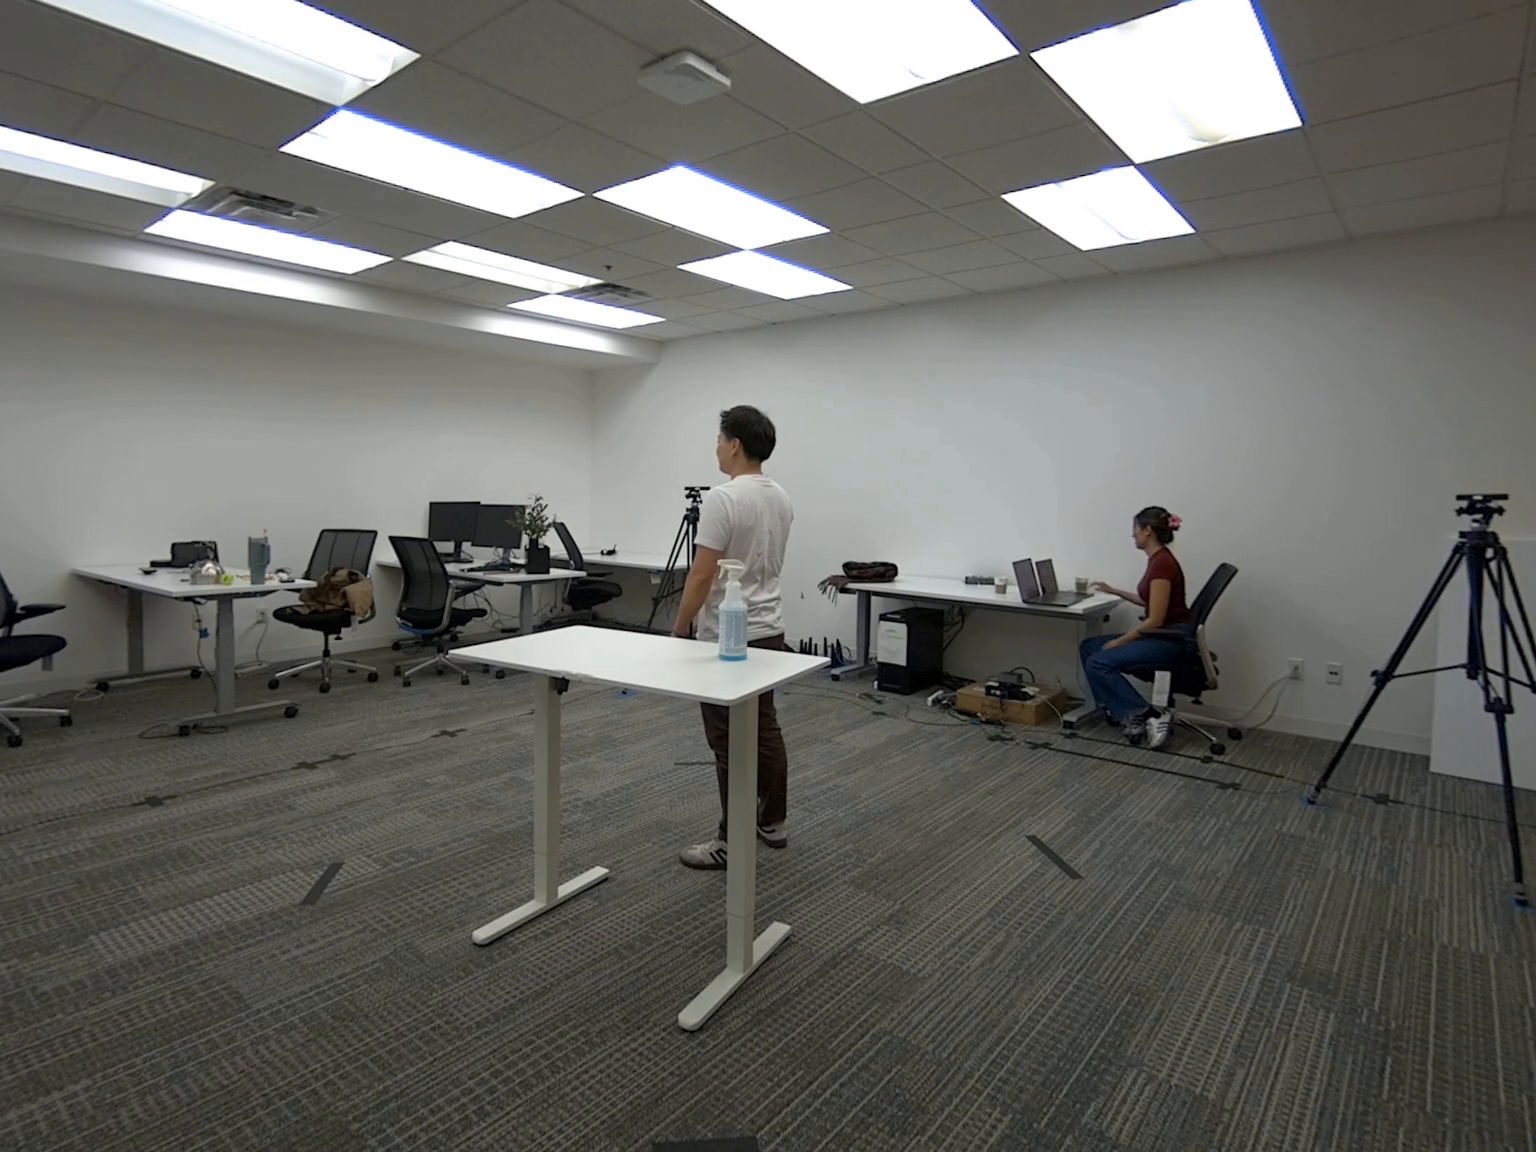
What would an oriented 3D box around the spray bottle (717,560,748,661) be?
[{"bbox_3d":[-0.112,0.096,2.532,0.090,0.296,0.087,-1,3,-1],"label":"spray bottle"}]
